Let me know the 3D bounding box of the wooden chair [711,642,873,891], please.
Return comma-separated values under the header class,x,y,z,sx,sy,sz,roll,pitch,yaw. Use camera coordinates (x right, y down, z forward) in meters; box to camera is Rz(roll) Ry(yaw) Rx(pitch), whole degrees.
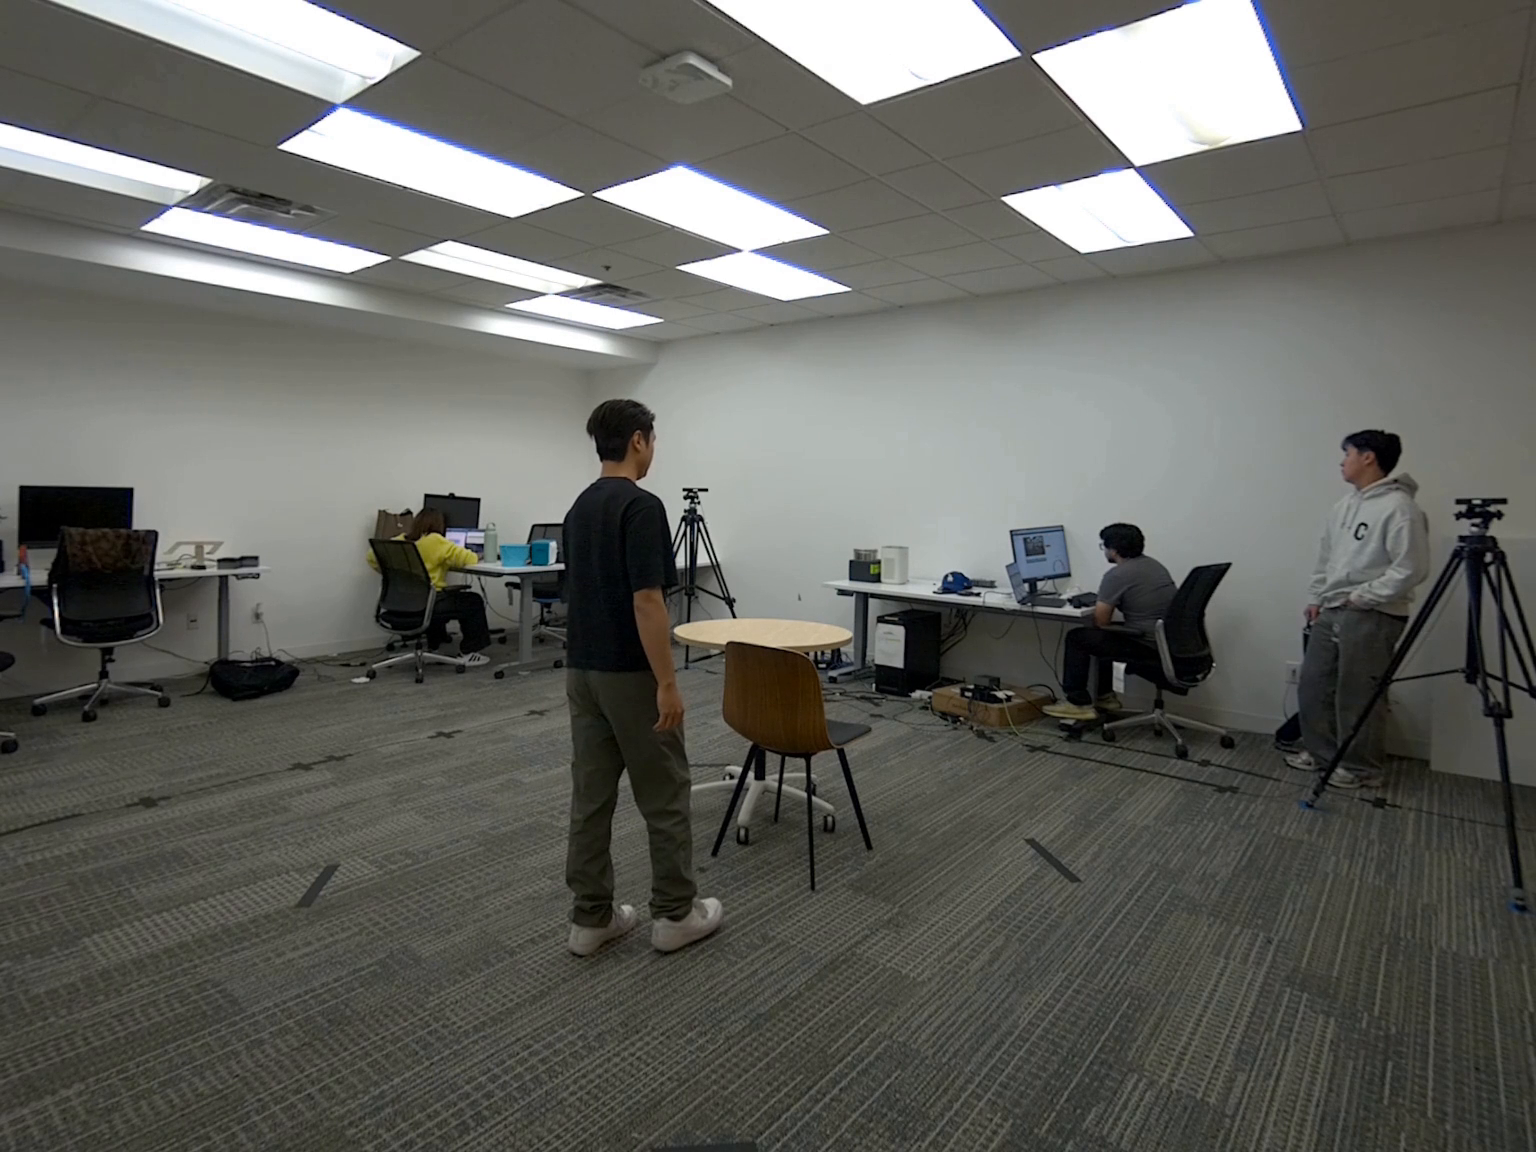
class,x,y,z,sx,sy,sz,roll,pitch,yaw
wooden chair,0.099,0.632,3.248,0.493,0.871,0.510,4,9,34
